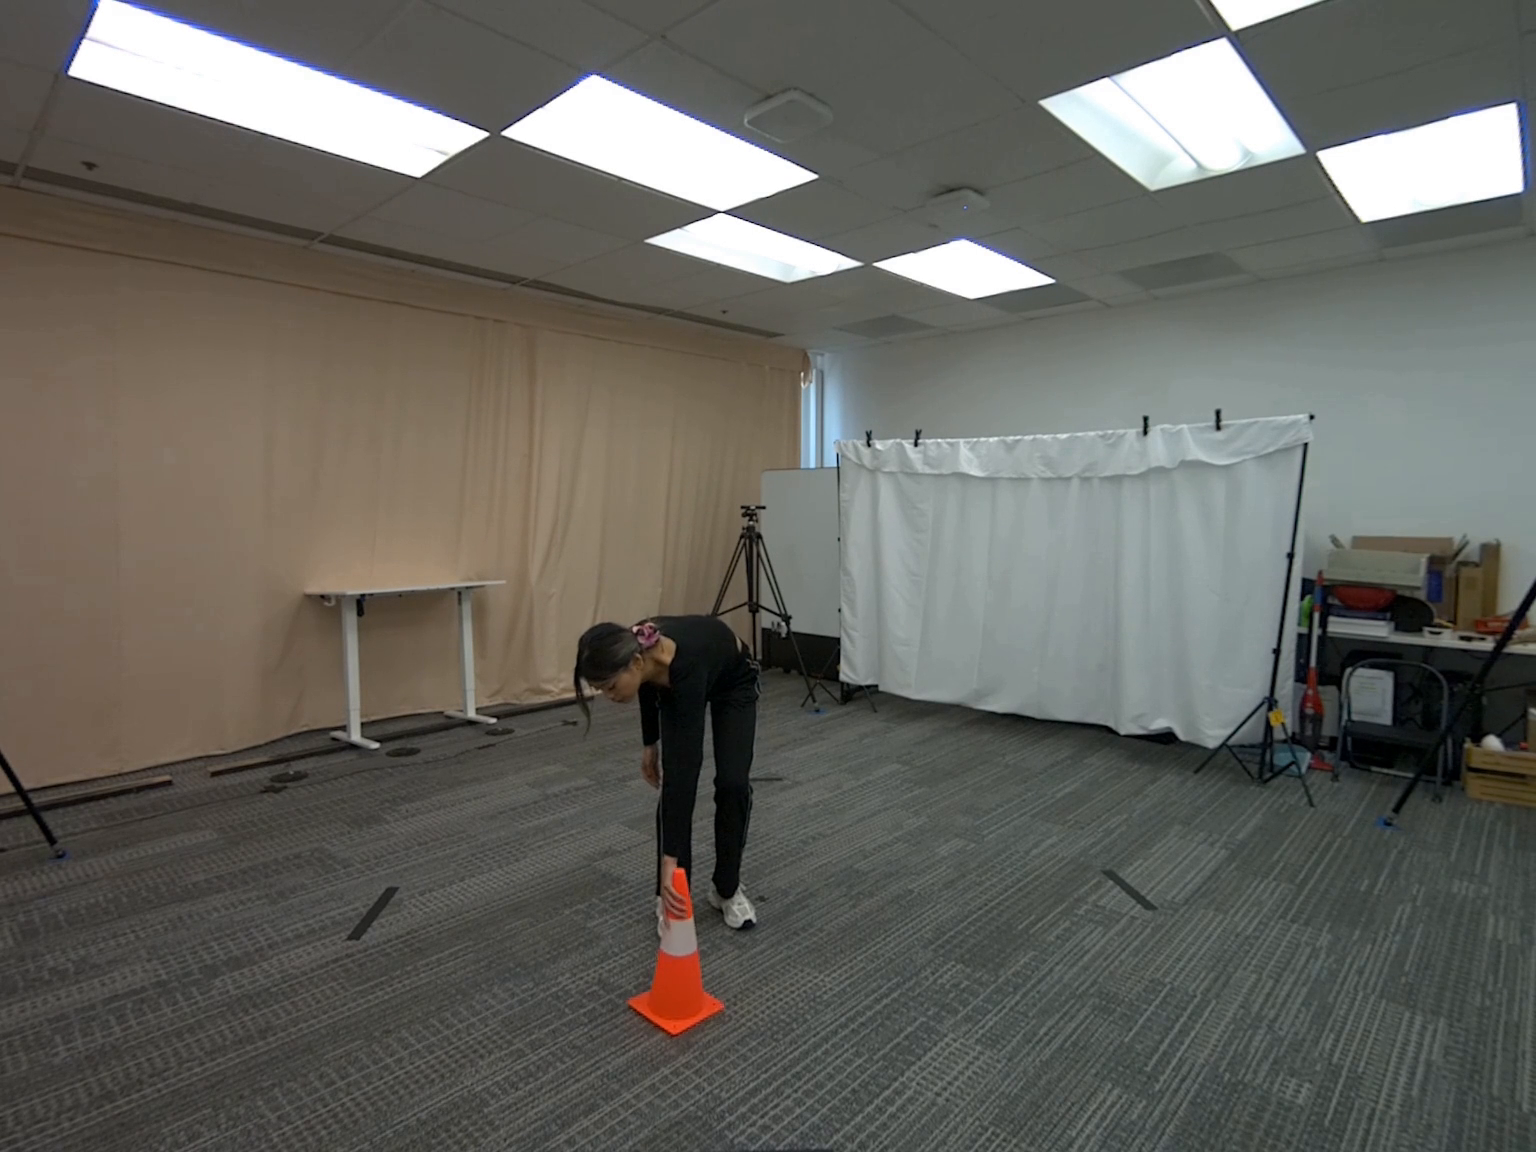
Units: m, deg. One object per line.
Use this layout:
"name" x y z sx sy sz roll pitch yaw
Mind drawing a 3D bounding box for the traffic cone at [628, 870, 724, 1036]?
"traffic cone" -0.249 0.994 2.325 0.212 0.383 0.197 5 4 42
